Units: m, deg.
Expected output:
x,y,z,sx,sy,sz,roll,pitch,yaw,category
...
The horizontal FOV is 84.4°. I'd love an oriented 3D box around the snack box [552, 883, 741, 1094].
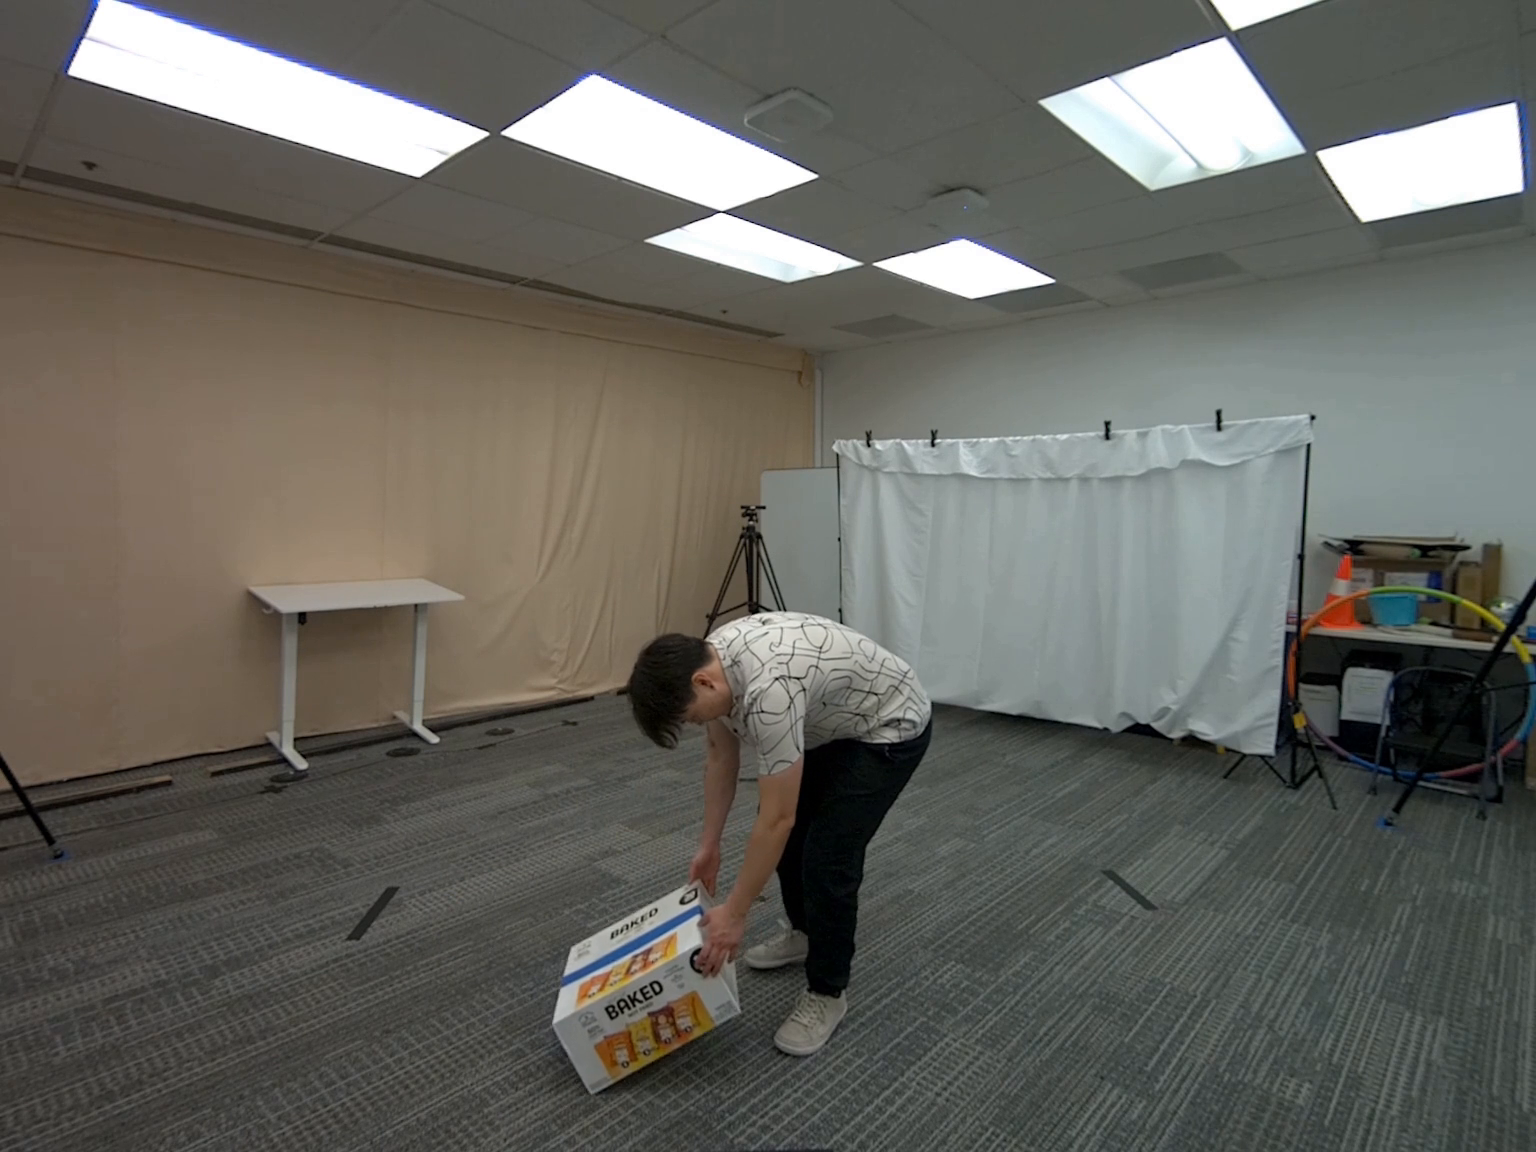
x,y,z,sx,sy,sz,roll,pitch,yaw,category
-0.303,1.033,2.147,0.405,0.204,0.343,-27,7,-2,snack box
